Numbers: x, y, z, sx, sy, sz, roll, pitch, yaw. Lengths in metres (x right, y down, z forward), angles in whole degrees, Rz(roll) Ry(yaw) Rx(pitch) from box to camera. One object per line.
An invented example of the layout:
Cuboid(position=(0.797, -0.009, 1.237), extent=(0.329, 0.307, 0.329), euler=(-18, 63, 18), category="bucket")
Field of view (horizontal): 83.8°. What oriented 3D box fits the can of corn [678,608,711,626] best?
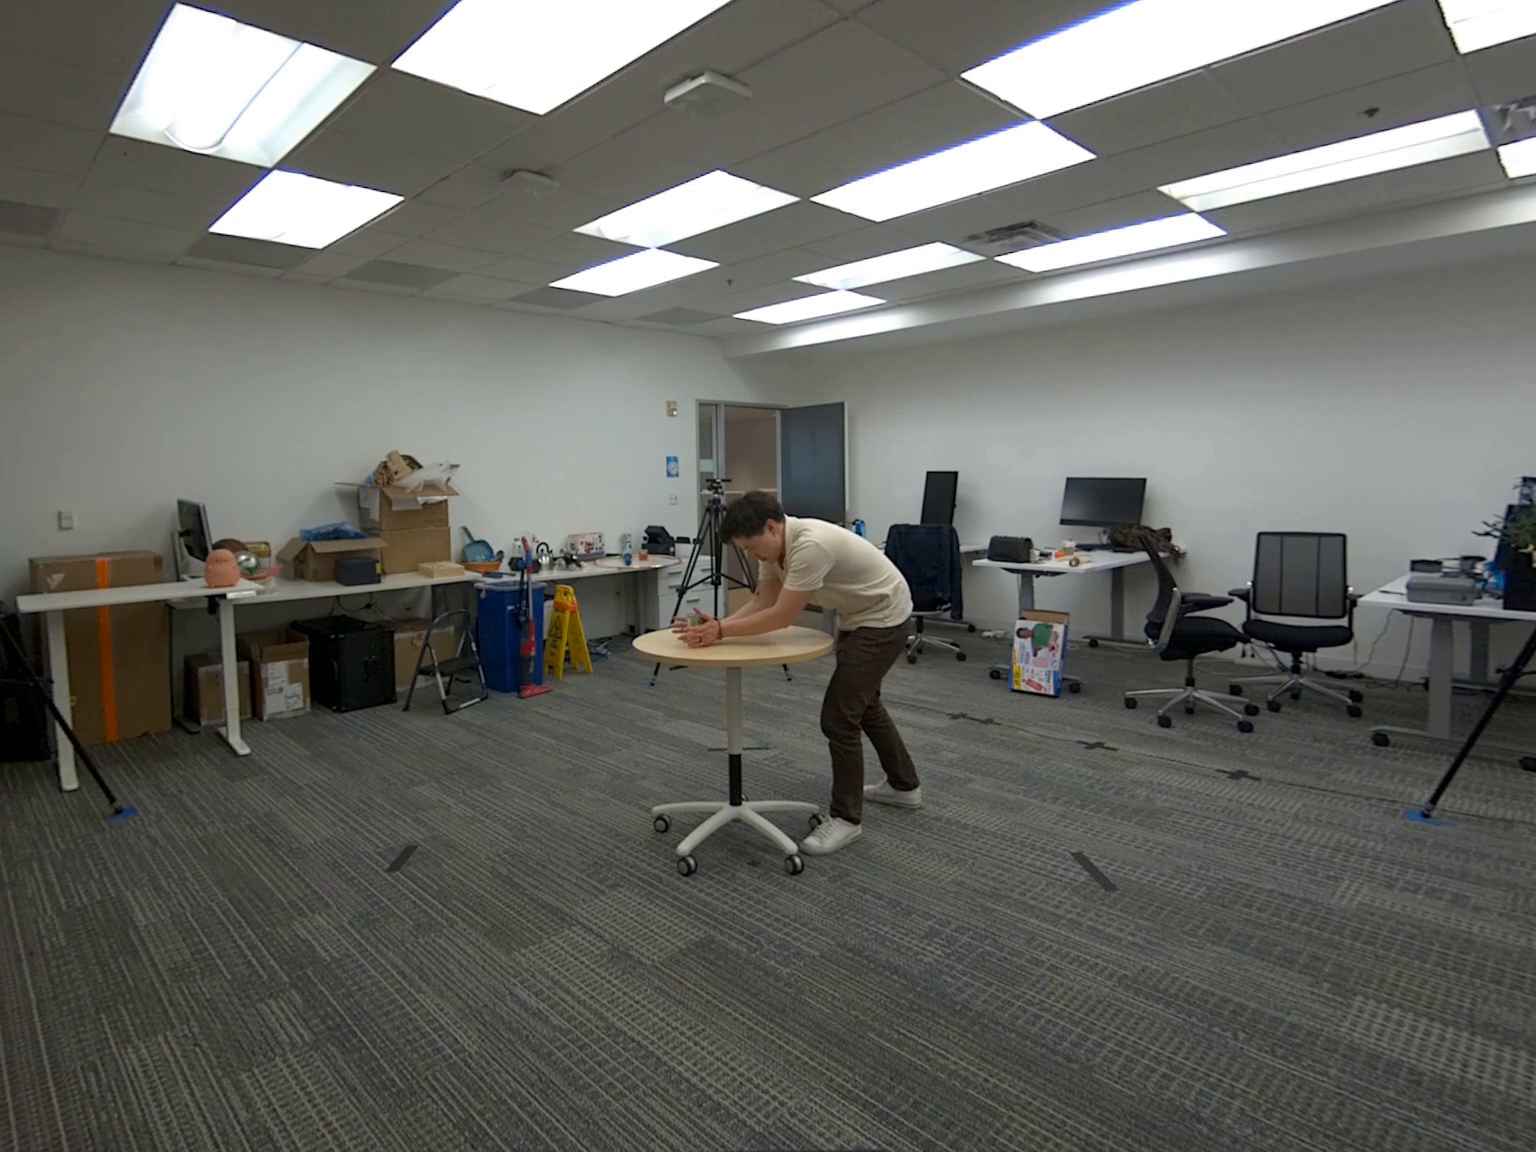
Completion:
Cuboid(position=(-0.257, 0.201, 3.172), extent=(0.074, 0.111, 0.074), euler=(5, 2, -2), category="can of corn")
